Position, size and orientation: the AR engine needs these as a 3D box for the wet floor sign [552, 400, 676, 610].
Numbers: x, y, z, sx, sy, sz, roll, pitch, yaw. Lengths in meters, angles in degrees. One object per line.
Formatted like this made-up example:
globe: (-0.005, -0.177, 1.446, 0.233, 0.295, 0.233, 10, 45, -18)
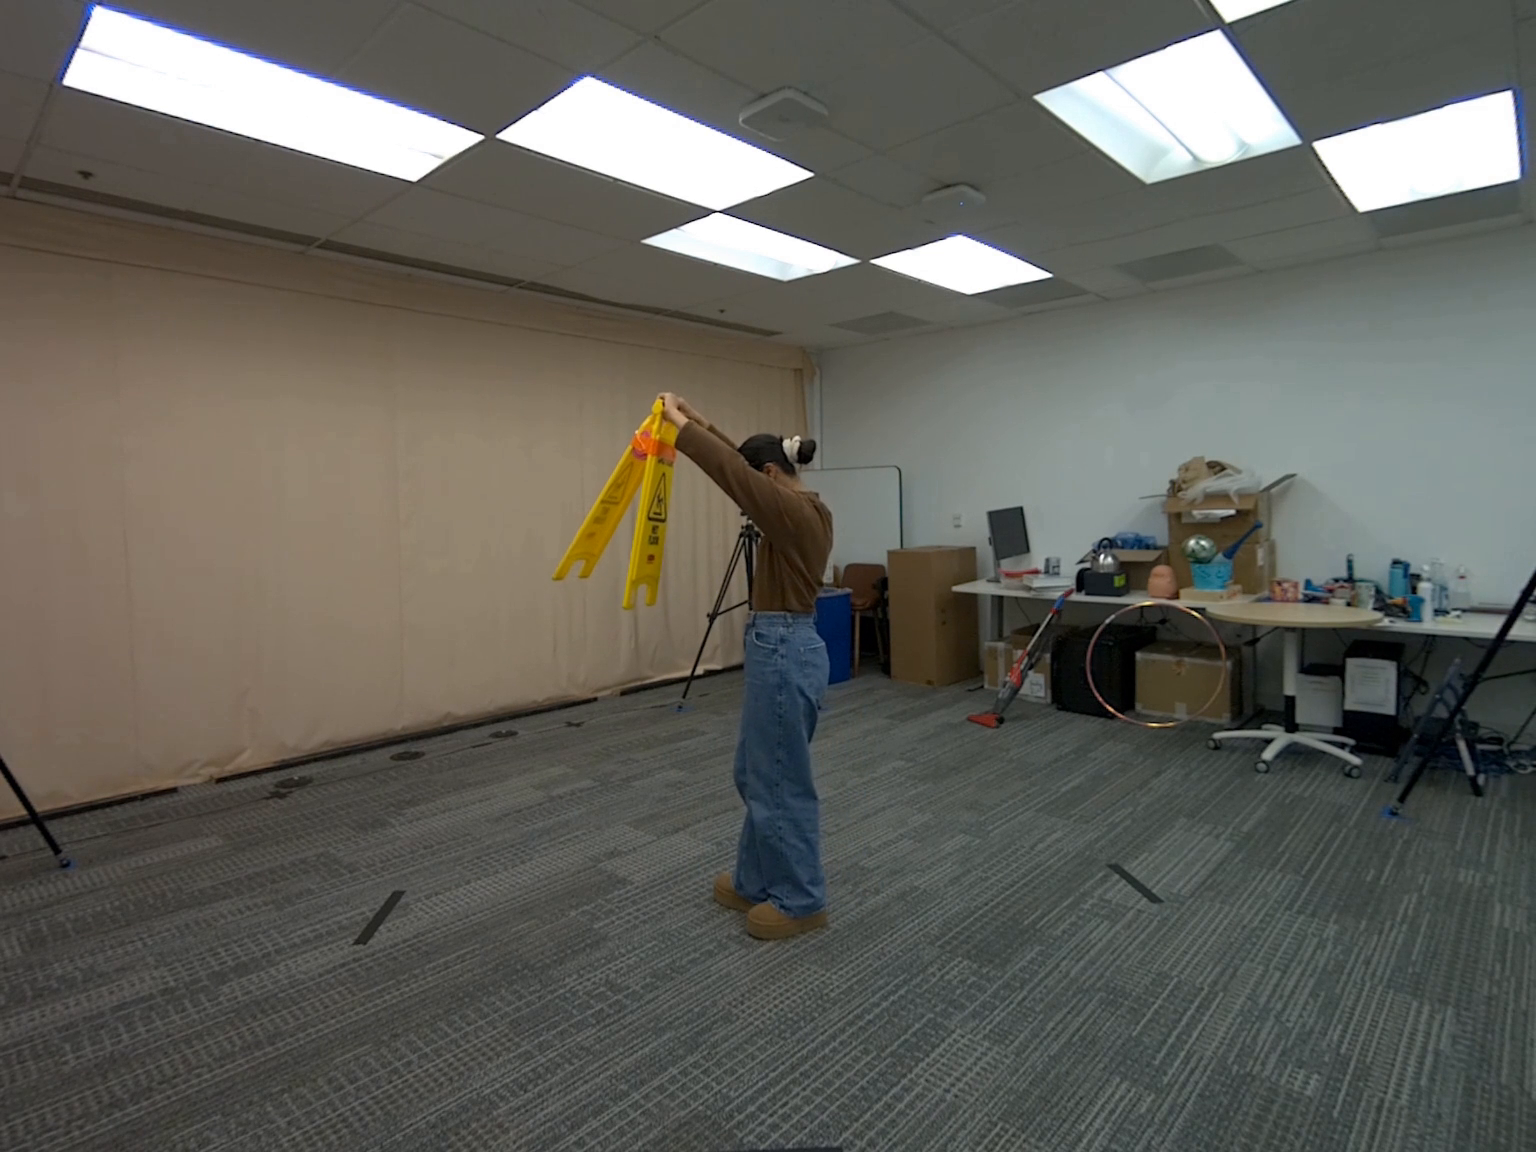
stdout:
wet floor sign: (-0.430, -0.242, 2.723, 0.293, 0.646, 0.279, 19, 2, 8)
